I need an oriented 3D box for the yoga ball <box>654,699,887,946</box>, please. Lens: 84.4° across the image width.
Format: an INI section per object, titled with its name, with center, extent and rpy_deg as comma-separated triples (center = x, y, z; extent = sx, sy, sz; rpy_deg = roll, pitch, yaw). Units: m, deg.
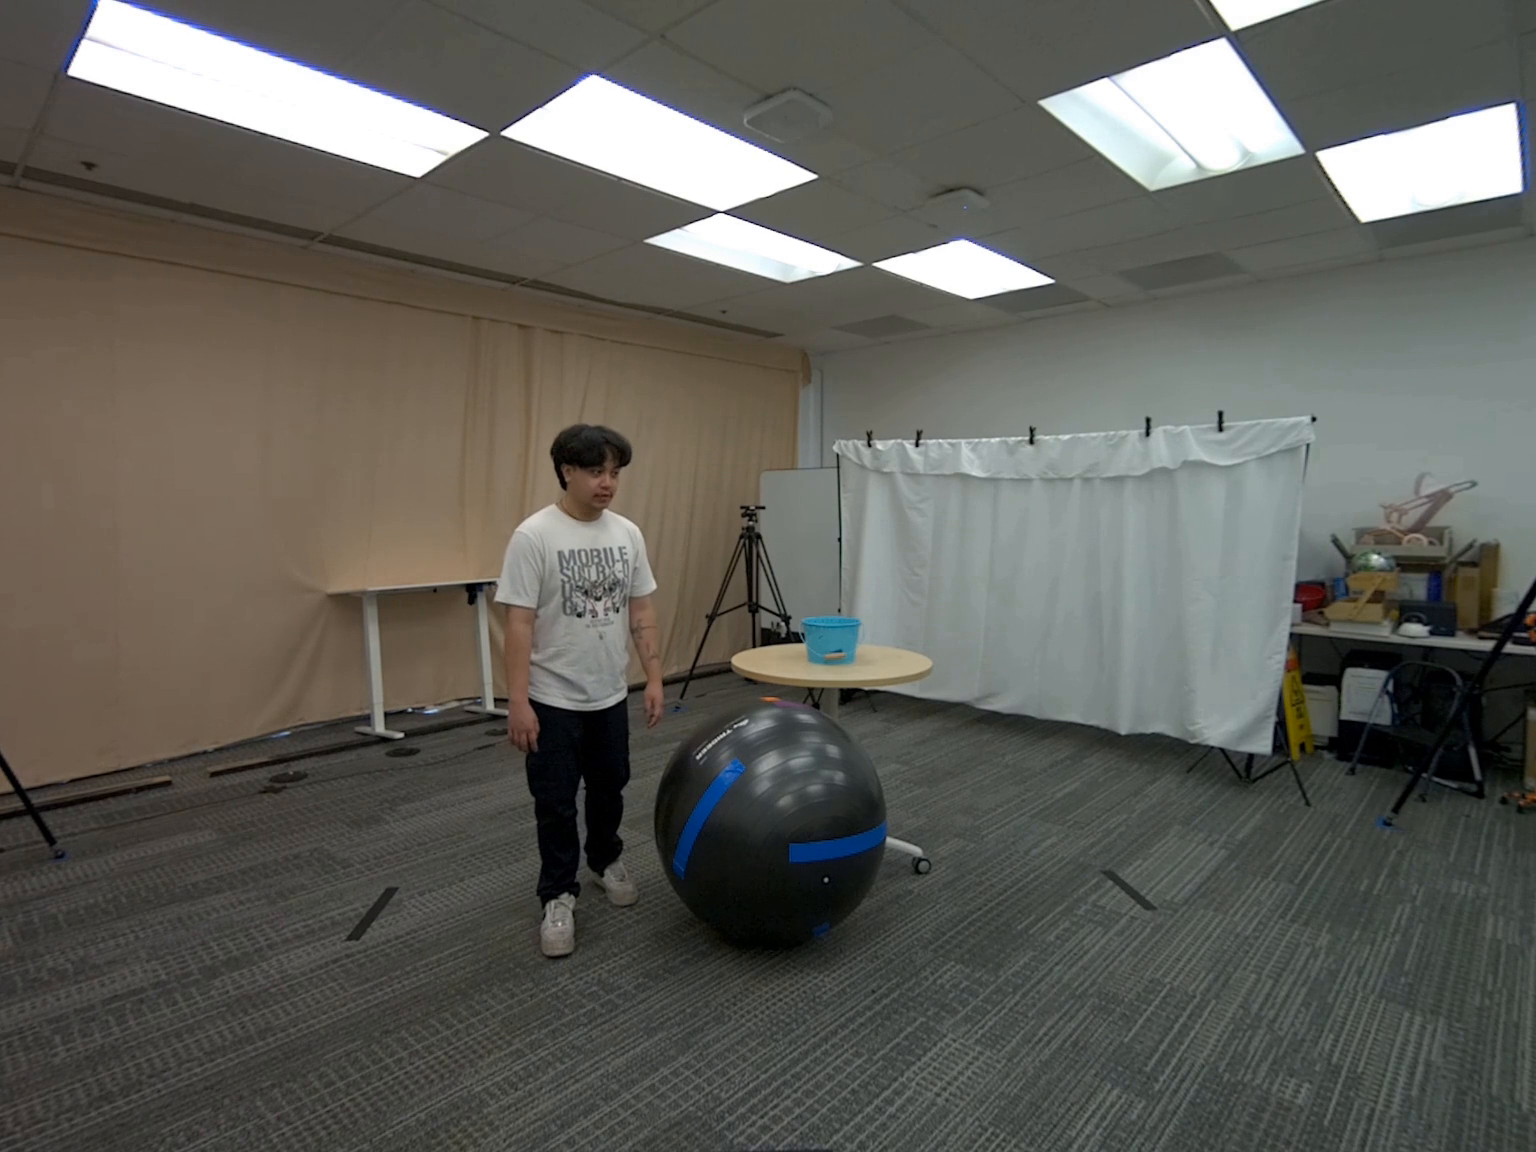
[yoga ball]
center = 0.013, 0.795, 2.748
extent = 0.757, 0.756, 0.761
rpy_deg = 0, 4, -2
